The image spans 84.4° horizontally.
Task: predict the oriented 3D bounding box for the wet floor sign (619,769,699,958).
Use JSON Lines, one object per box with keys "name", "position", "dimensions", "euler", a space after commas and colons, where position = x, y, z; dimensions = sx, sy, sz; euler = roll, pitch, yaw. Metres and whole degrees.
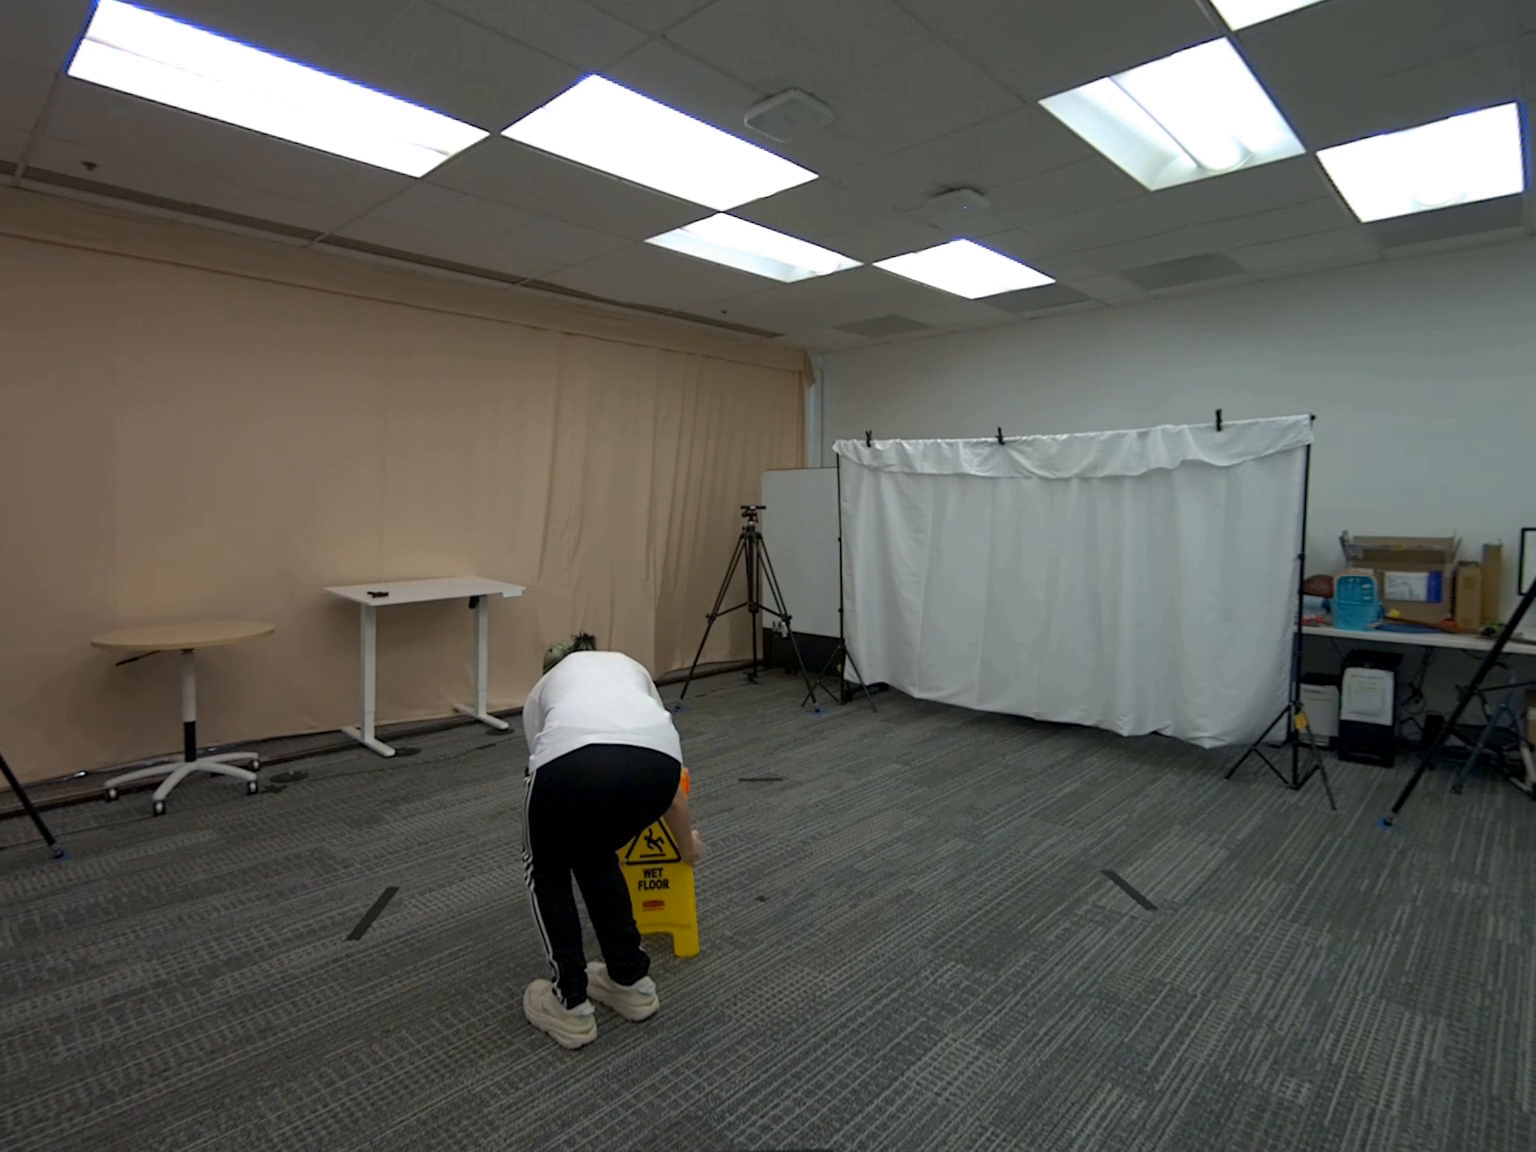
{"name": "wet floor sign", "position": [-0.379, 0.850, 2.688], "dimensions": [0.279, 0.645, 0.293], "euler": [0, 3, -10]}
